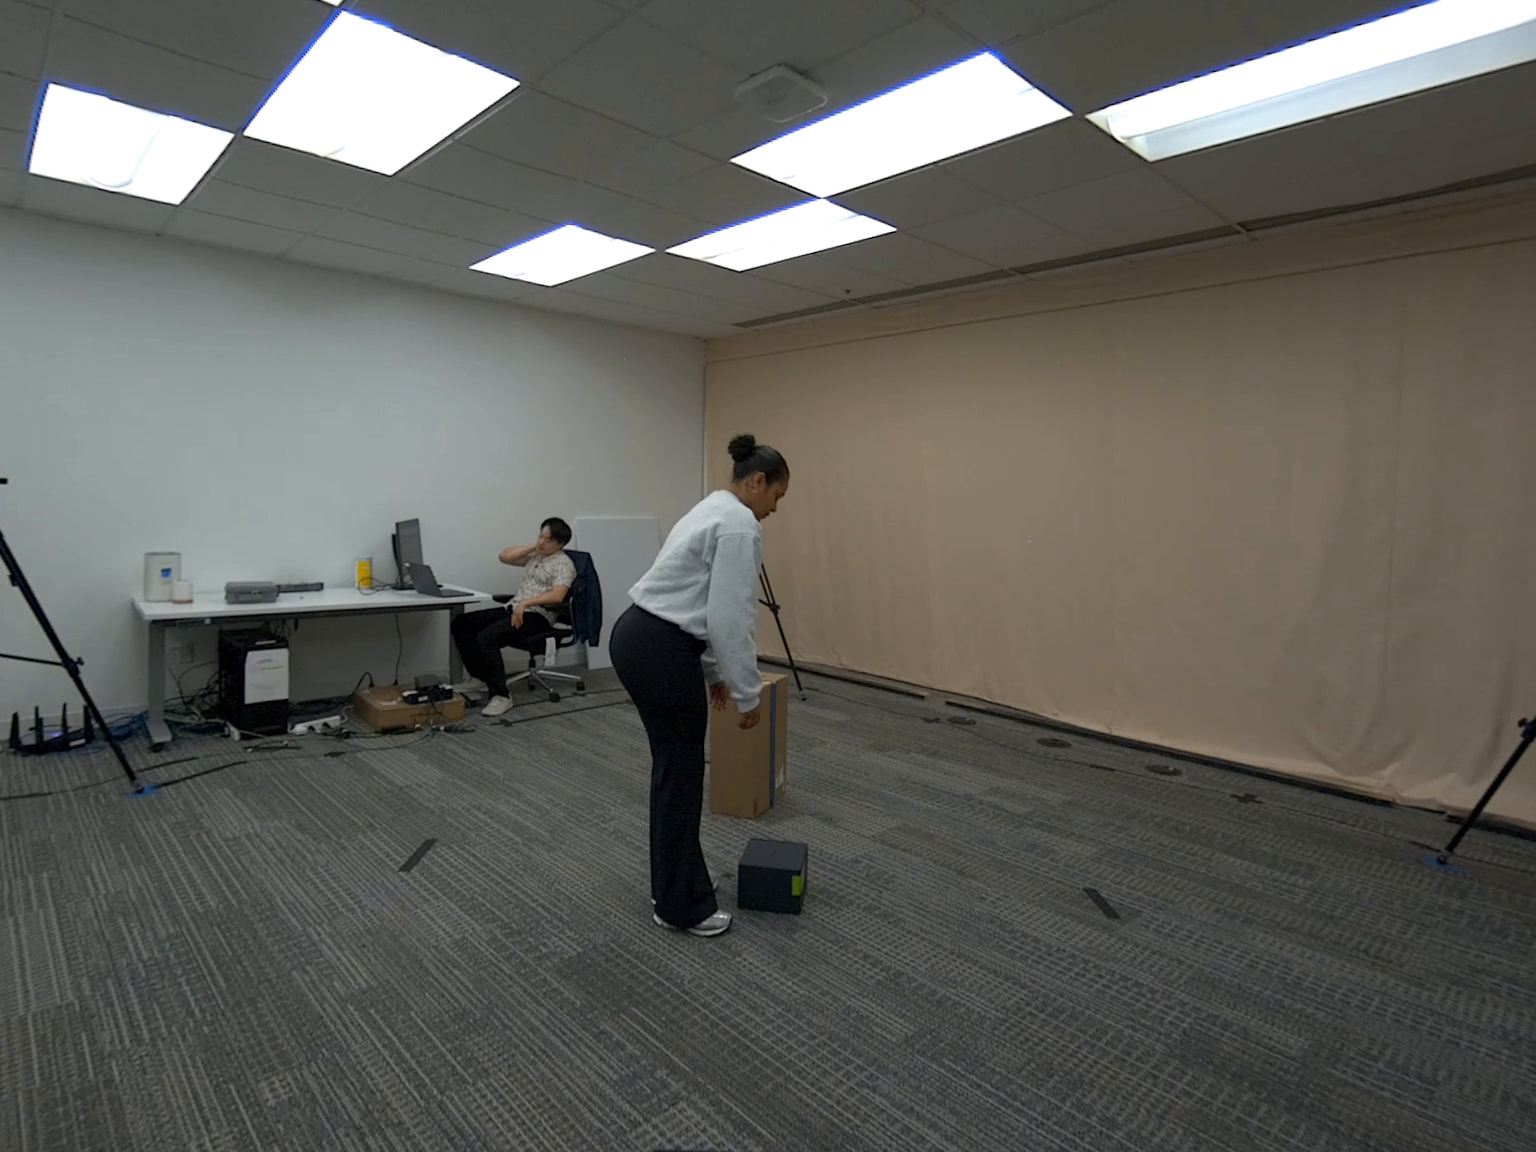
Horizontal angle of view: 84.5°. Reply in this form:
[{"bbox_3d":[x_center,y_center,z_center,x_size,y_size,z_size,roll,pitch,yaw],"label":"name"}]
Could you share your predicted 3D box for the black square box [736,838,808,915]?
[{"bbox_3d":[0.002,1.037,2.935,0.219,0.155,0.226,1,6,11],"label":"black square box"}]
